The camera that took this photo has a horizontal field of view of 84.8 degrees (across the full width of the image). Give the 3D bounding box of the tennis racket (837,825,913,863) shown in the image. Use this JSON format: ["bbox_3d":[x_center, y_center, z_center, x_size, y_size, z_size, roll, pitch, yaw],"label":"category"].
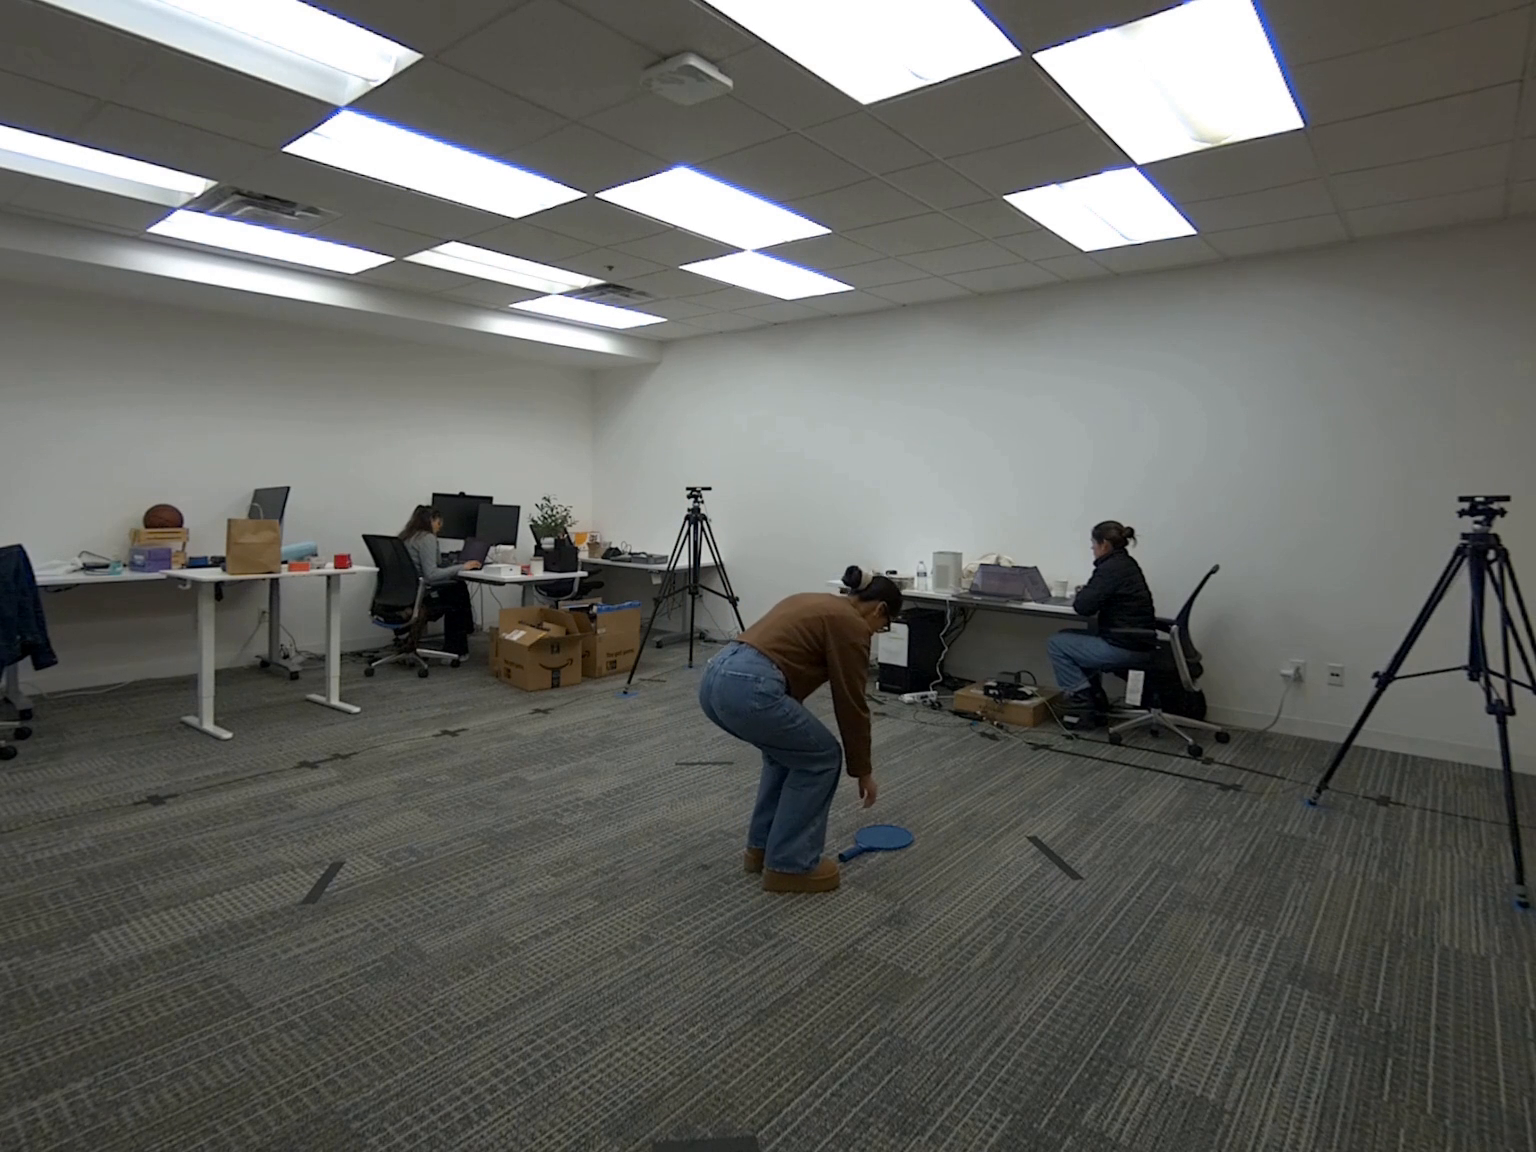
[{"bbox_3d":[0.400,1.039,3.347,0.221,0.031,0.420,5,6,42],"label":"tennis racket"}]
